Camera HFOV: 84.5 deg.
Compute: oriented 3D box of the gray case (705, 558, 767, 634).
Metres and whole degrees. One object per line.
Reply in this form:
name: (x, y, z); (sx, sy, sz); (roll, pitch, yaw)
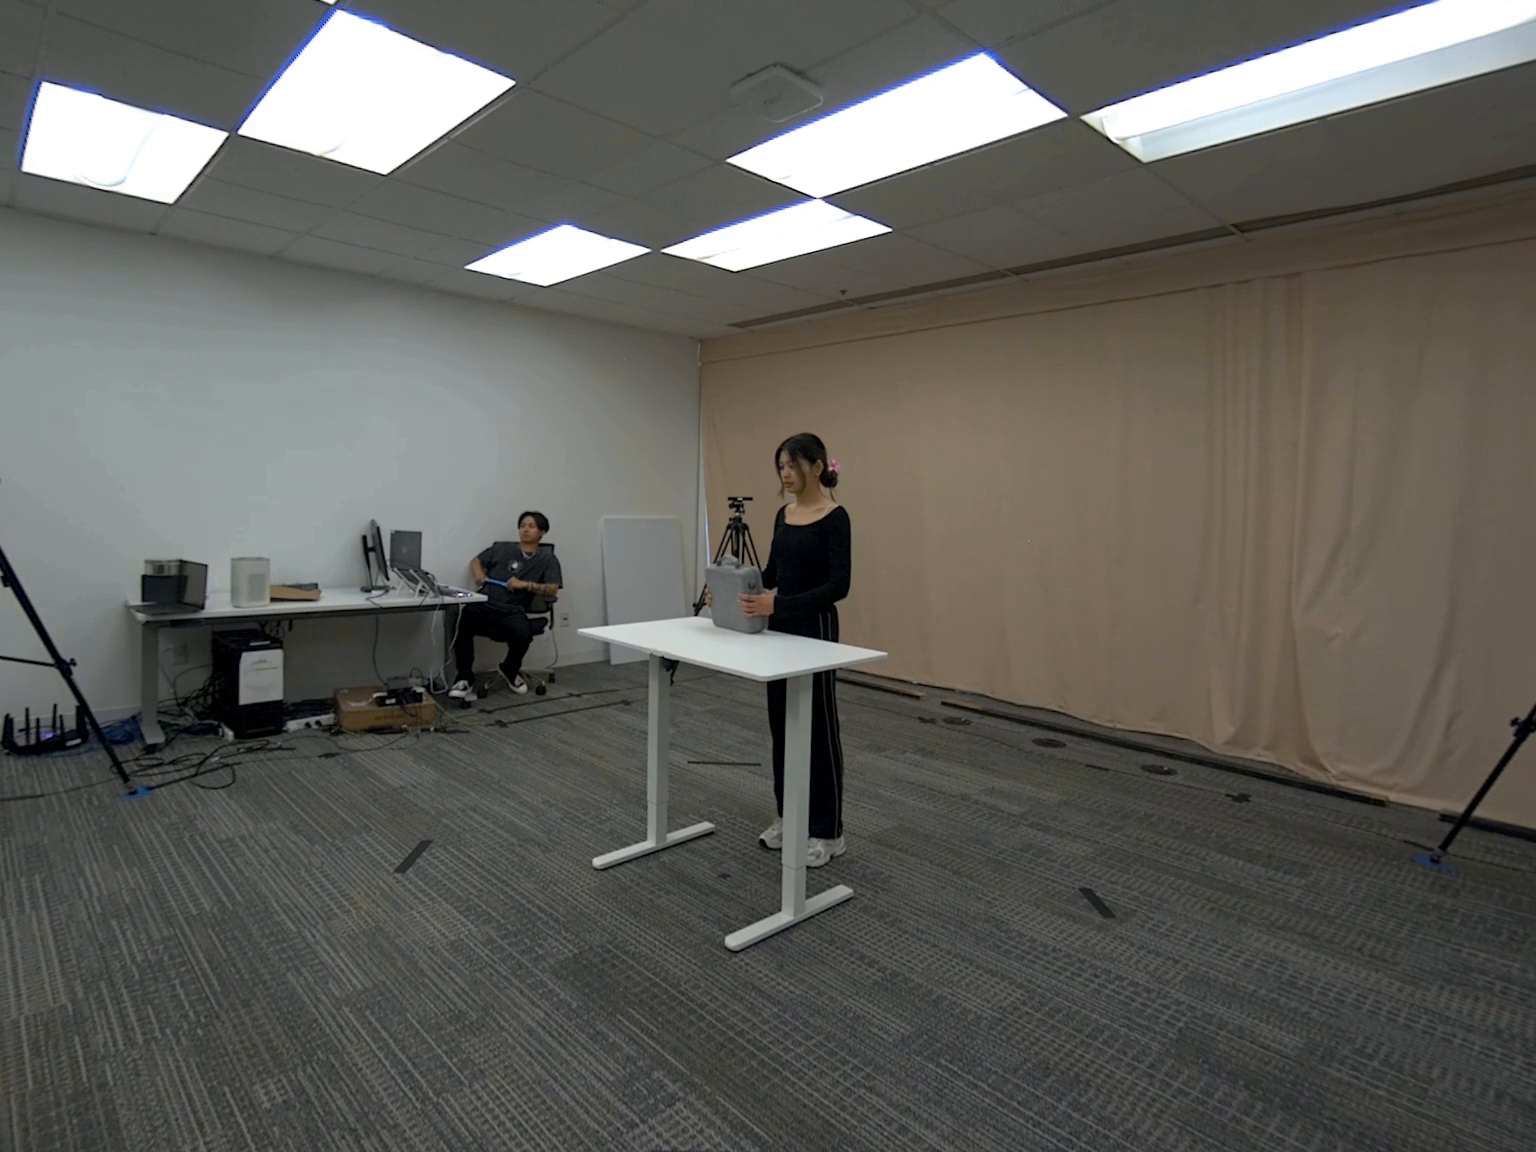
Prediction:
gray case: (-0.128, 0.079, 3.246); (0.103, 0.258, 0.263); (-15, 13, -34)
